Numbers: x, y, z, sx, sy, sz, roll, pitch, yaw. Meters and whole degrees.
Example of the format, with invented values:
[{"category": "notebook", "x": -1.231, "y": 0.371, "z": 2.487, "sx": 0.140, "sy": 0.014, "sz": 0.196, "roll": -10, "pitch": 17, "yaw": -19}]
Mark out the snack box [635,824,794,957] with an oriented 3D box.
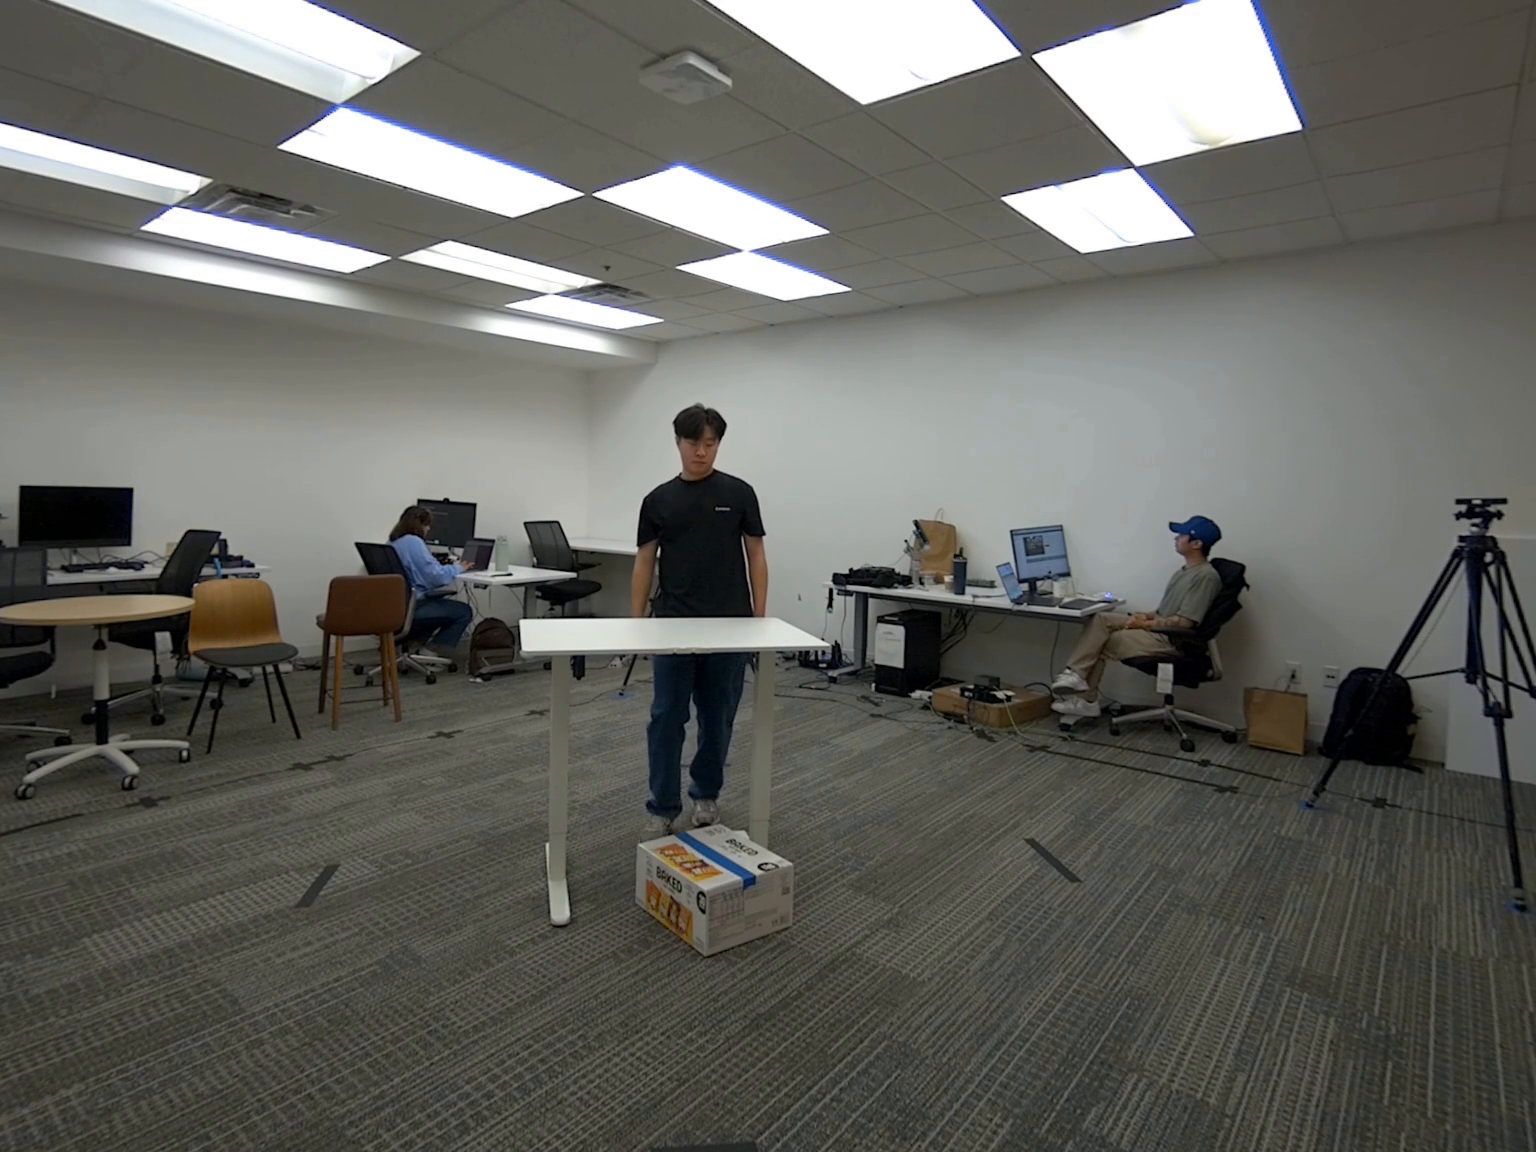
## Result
[{"category": "snack box", "x": -0.187, "y": 1.000, "z": 2.765, "sx": 0.330, "sy": 0.205, "sz": 0.419, "roll": -2, "pitch": 6, "yaw": -37}]
